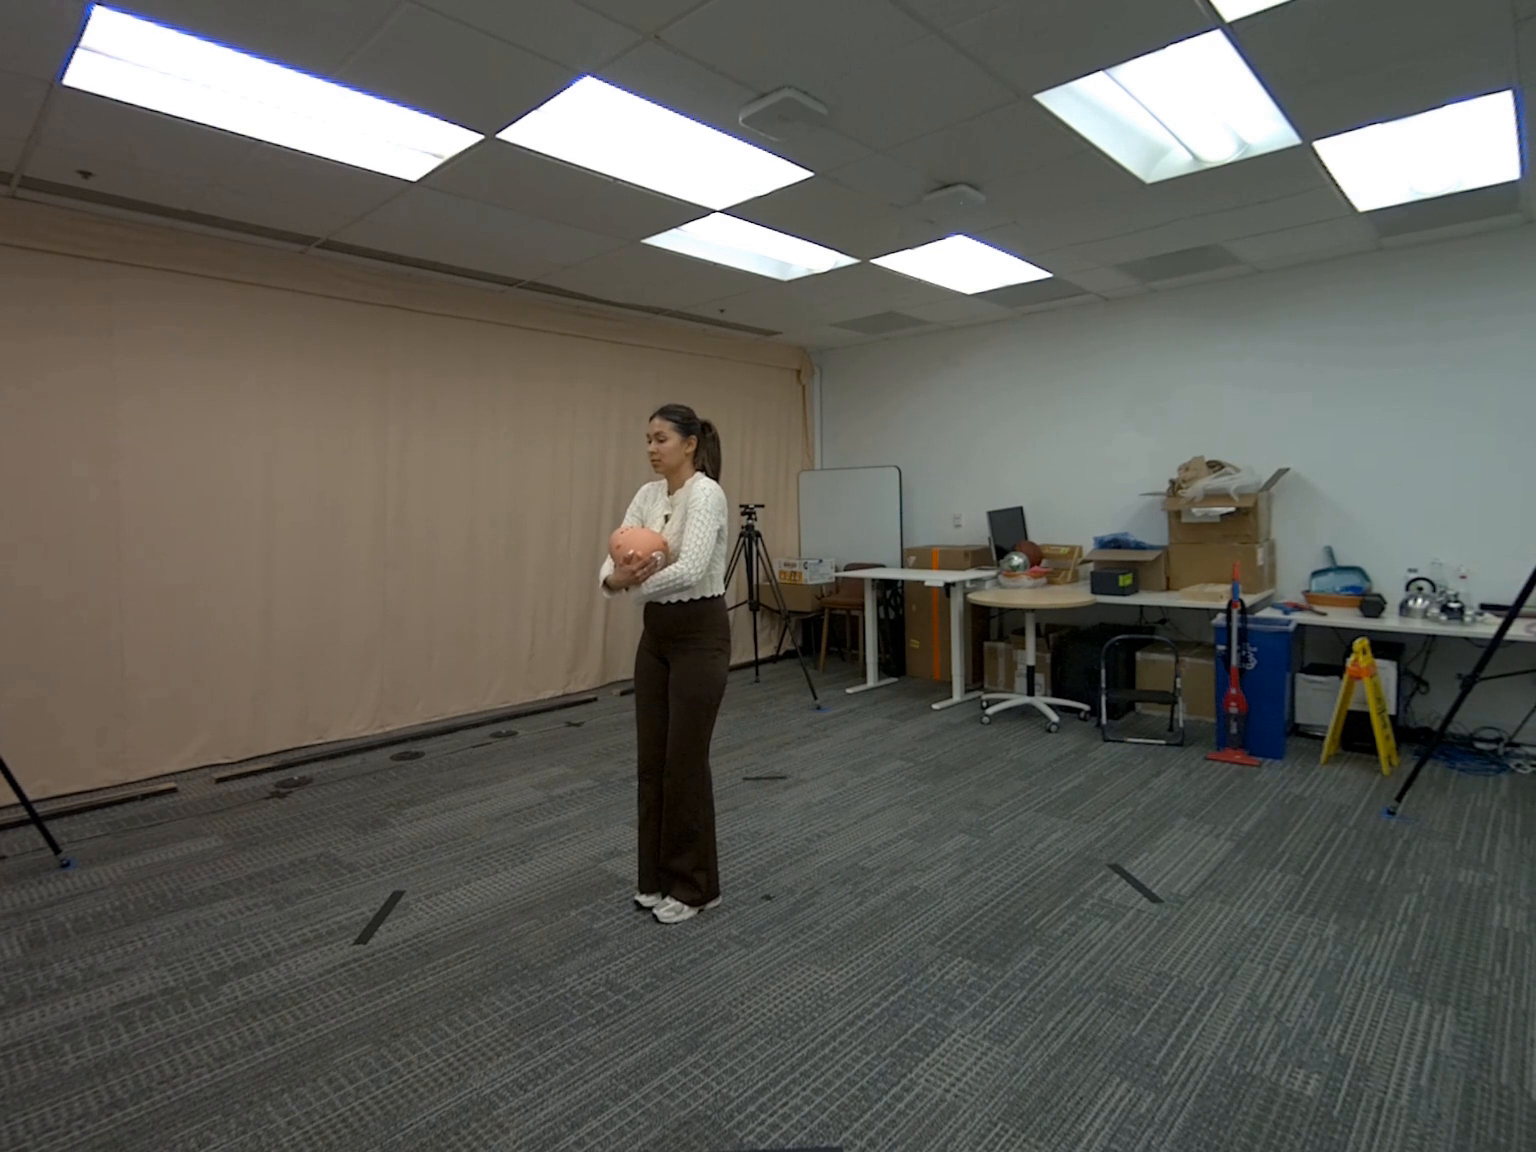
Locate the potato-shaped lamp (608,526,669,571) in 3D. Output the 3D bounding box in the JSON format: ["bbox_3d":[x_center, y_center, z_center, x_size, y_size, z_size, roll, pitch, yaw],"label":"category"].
[{"bbox_3d":[-0.422,-0.080,2.710,0.162,0.168,0.205,-26,48,-24],"label":"potato-shaped lamp"}]
